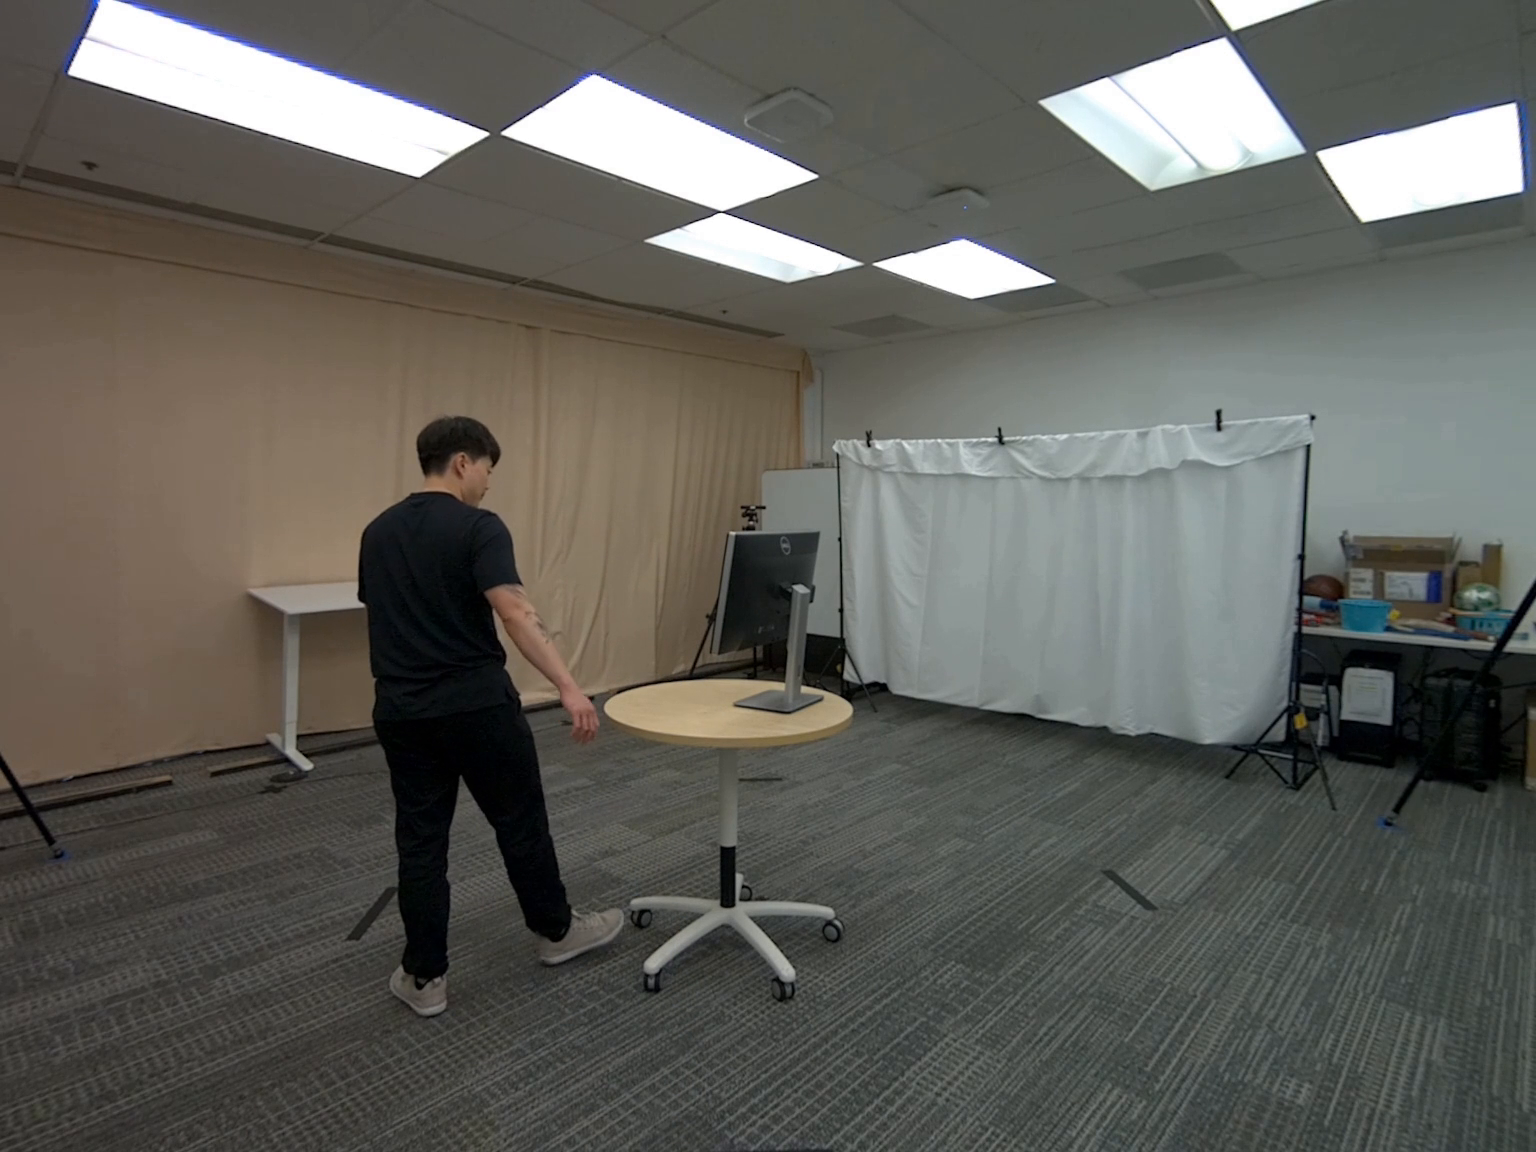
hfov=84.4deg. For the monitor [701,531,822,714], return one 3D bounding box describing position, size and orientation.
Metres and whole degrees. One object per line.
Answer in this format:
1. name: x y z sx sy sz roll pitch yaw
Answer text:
1. monitor: 0.039 0.137 2.624 0.192 0.522 0.525 0 3 28
